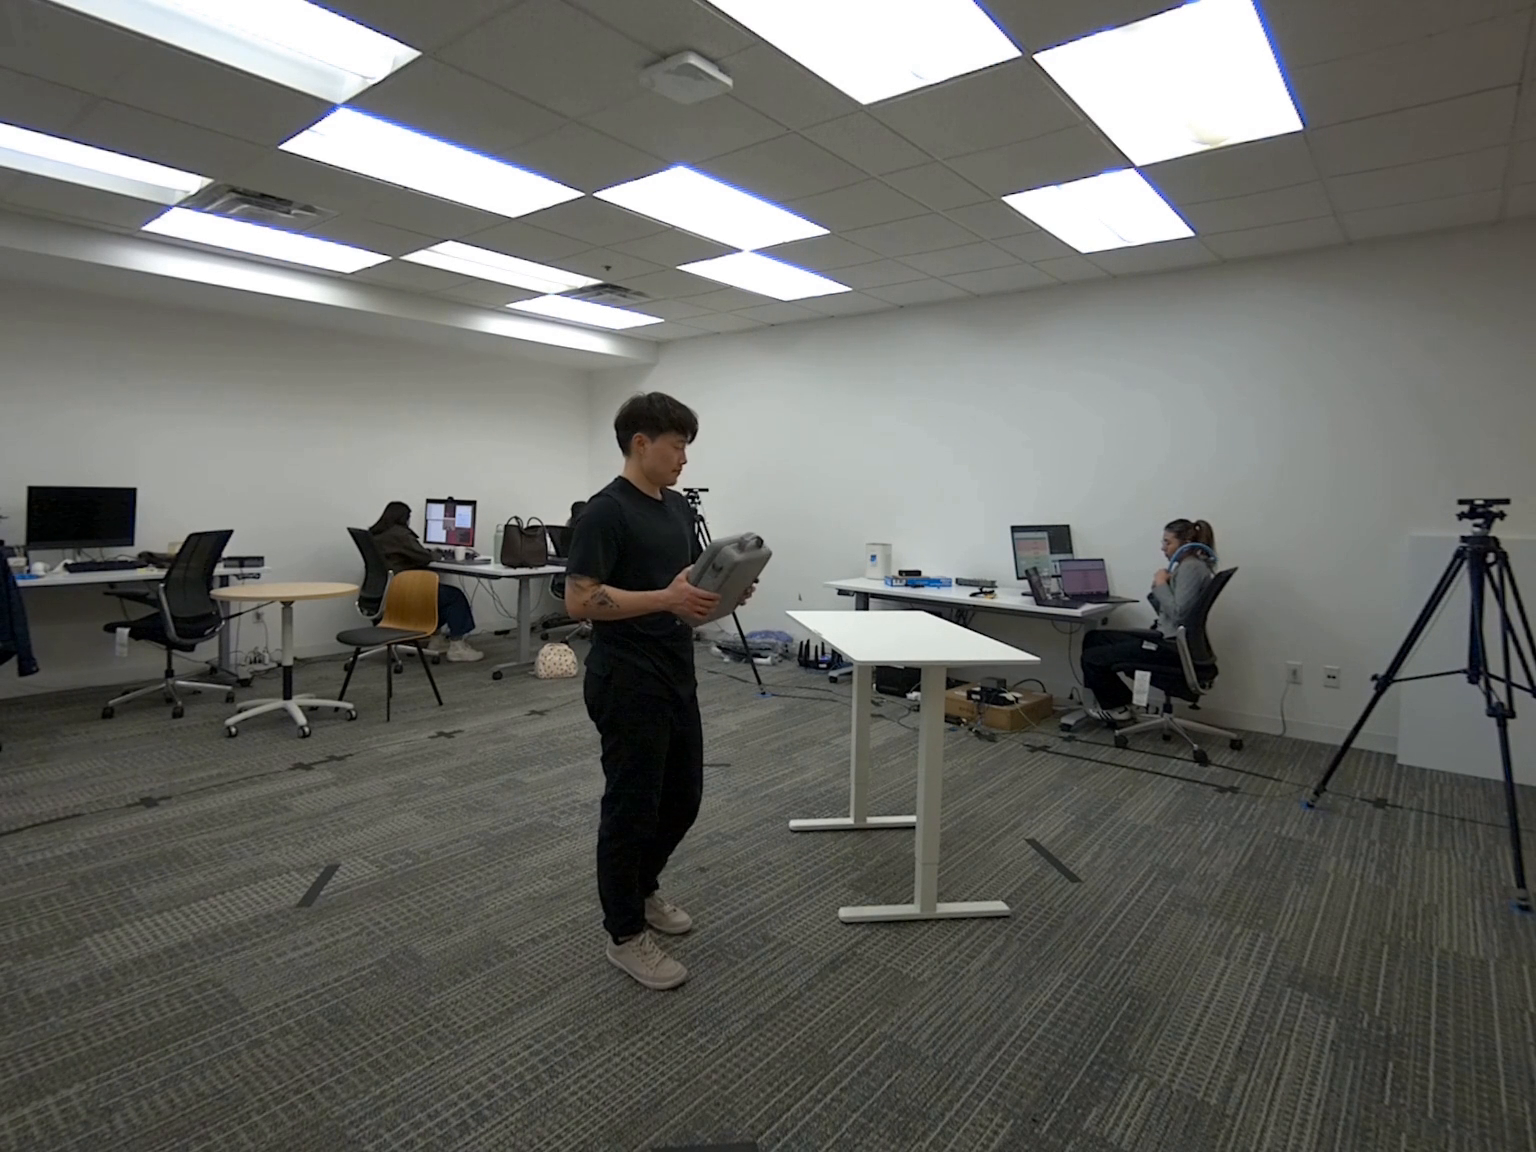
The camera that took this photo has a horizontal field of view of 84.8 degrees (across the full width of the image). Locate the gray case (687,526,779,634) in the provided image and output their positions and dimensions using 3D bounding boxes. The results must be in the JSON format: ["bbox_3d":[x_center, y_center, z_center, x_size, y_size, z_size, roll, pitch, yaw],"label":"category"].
[{"bbox_3d":[-0.135,0.007,2.370,0.107,0.259,0.252,40,25,16],"label":"gray case"}]
